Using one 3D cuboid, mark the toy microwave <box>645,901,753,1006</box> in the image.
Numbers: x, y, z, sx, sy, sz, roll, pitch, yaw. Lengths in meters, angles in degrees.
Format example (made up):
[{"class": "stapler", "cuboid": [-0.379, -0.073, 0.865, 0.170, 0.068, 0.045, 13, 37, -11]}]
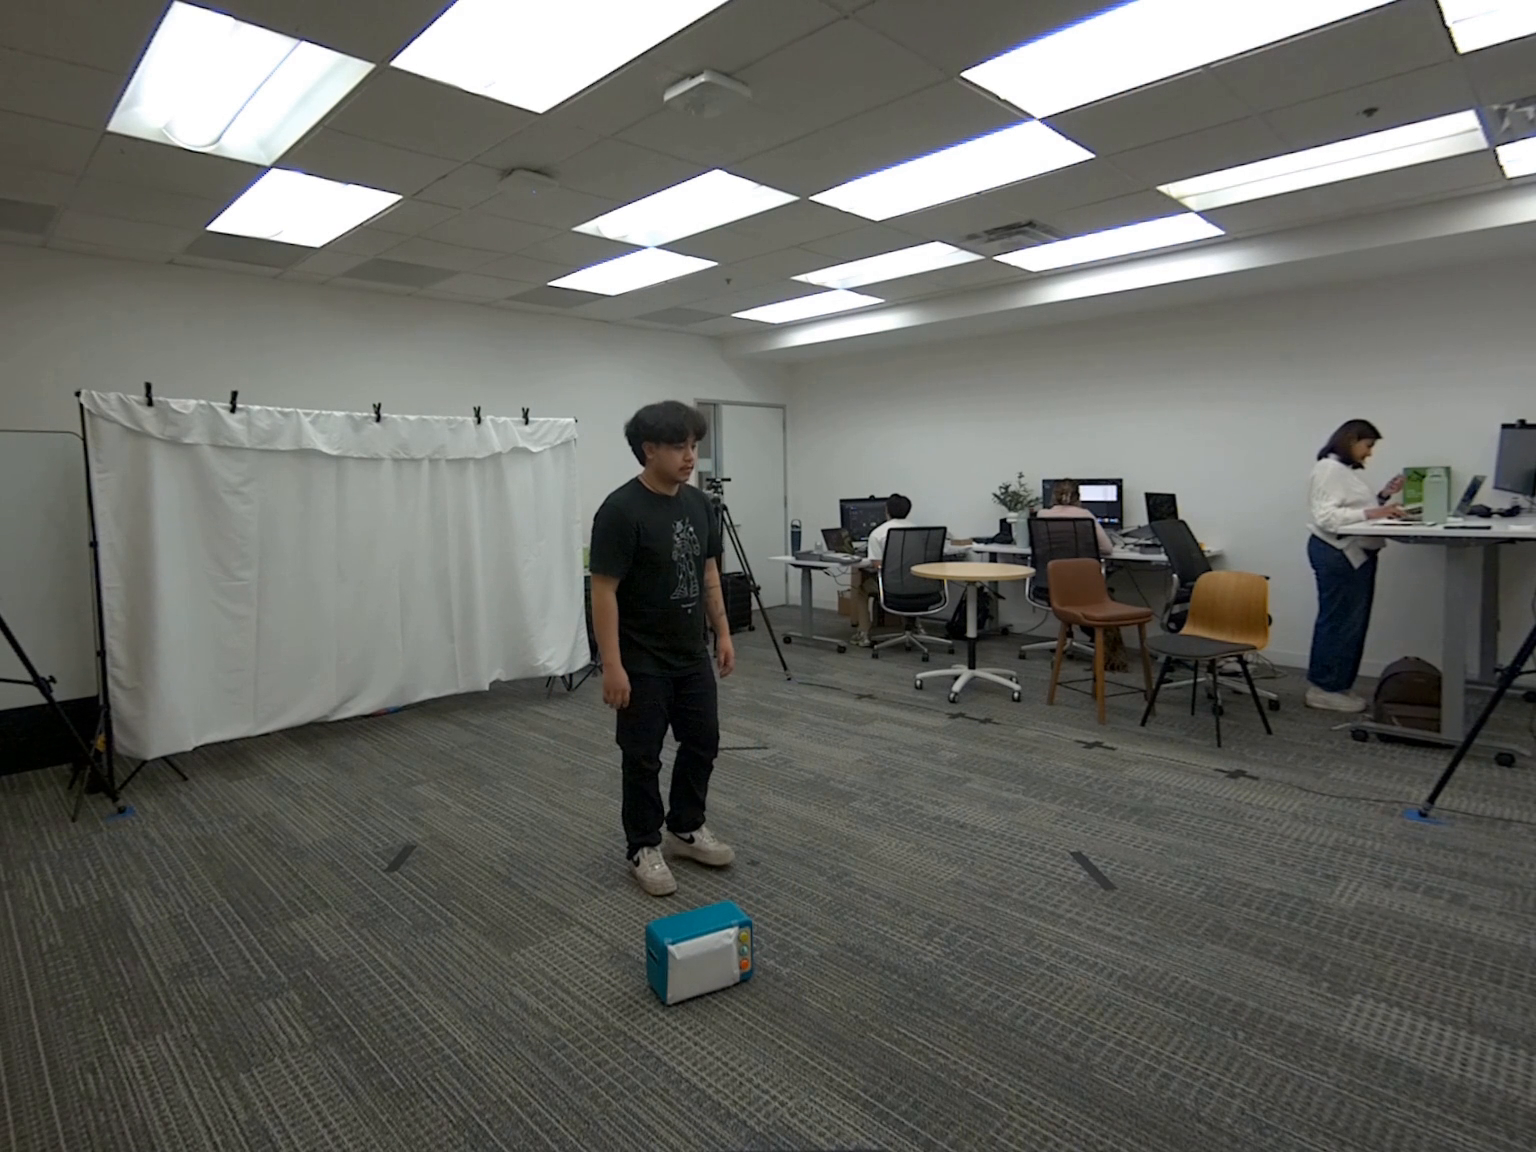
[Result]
[{"class": "toy microwave", "cuboid": [-0.185, 1.047, 2.363, 0.280, 0.183, 0.156, -4, 6, -28]}]
